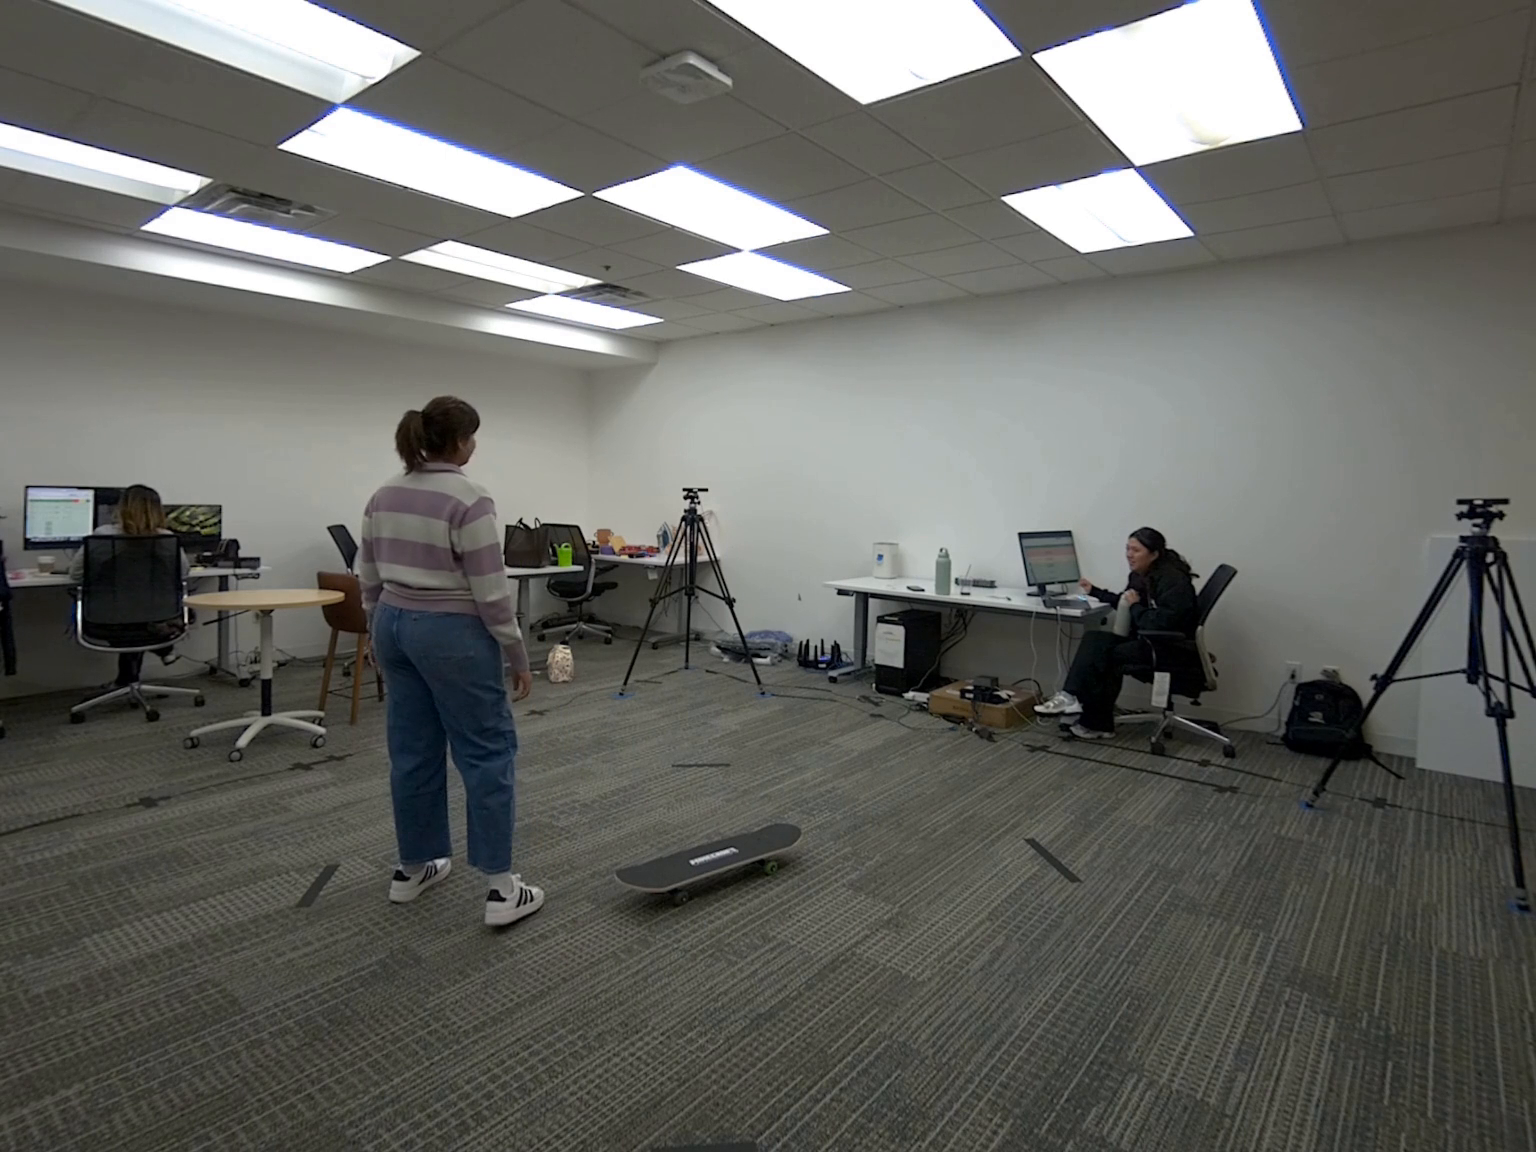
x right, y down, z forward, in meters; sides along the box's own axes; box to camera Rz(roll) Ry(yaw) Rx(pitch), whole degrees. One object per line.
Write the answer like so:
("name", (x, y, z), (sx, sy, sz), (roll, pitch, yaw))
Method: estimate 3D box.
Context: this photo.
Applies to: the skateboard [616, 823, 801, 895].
("skateboard", (-0.199, 1.026, 3.011), (0.762, 0.110, 0.200), (-3, 8, -39))
